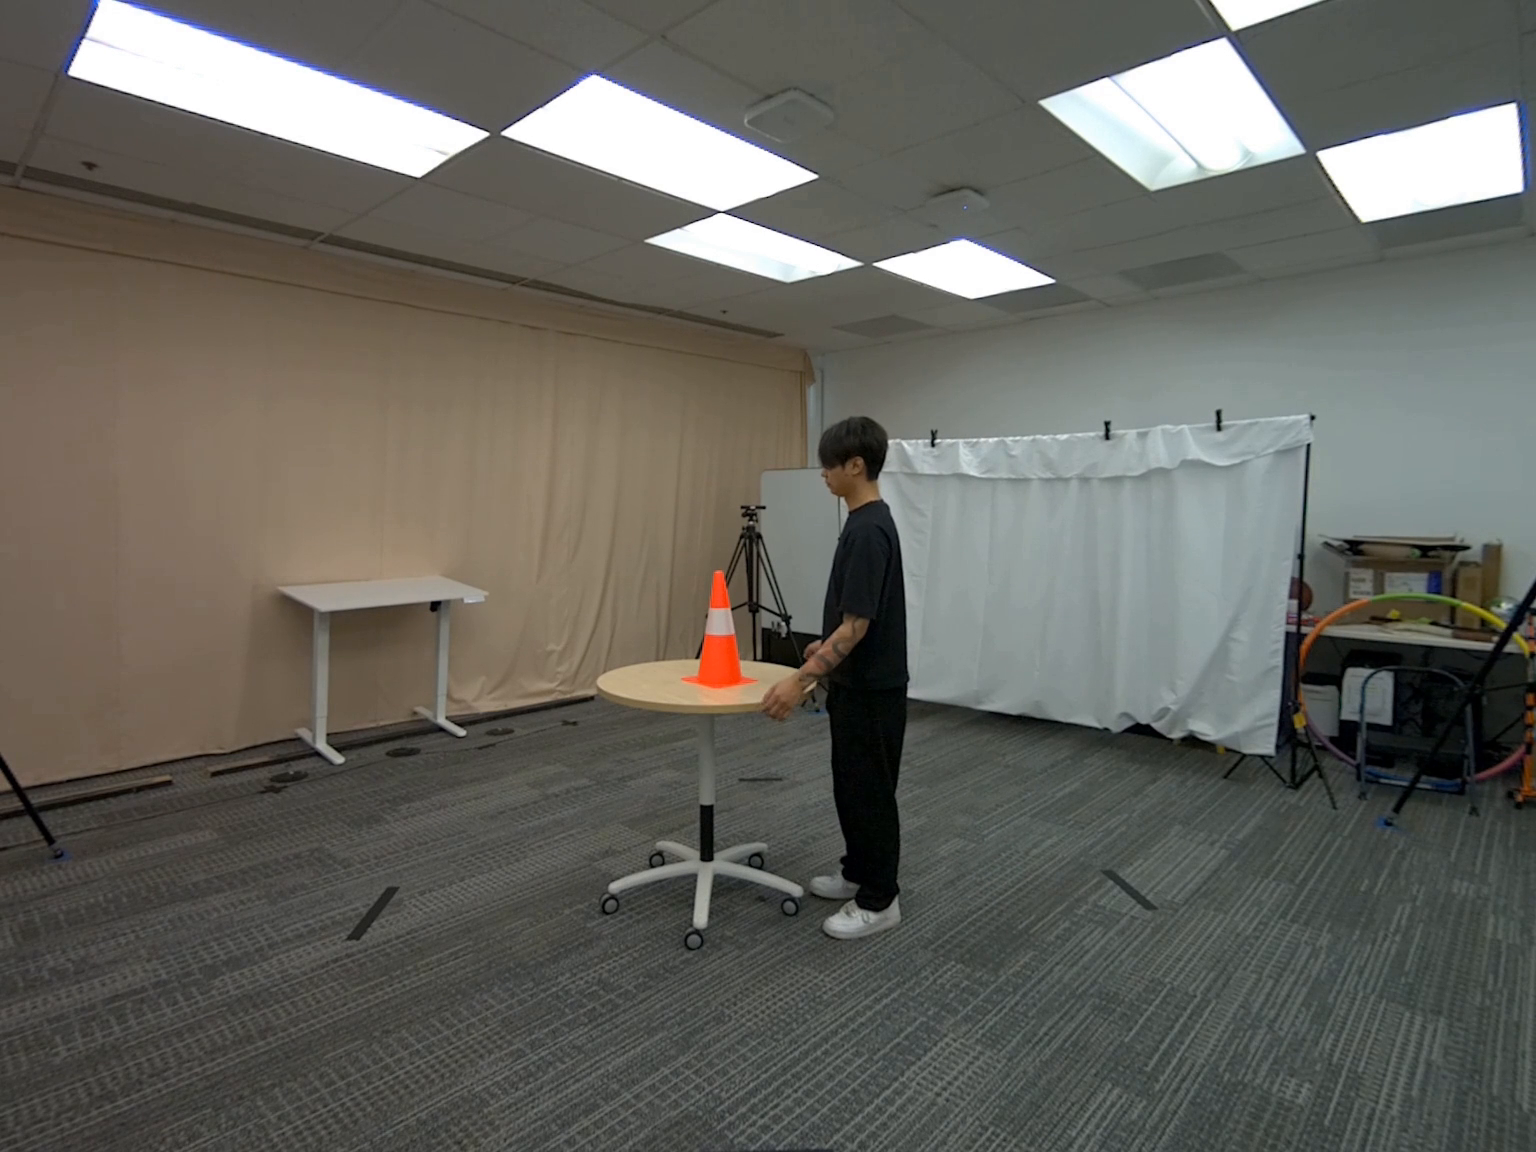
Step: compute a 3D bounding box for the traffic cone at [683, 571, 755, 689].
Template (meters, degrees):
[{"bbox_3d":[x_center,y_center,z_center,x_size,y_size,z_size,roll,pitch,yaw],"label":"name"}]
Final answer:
[{"bbox_3d":[-0.173,0.182,2.926,0.211,0.383,0.197,2,3,37],"label":"traffic cone"}]
